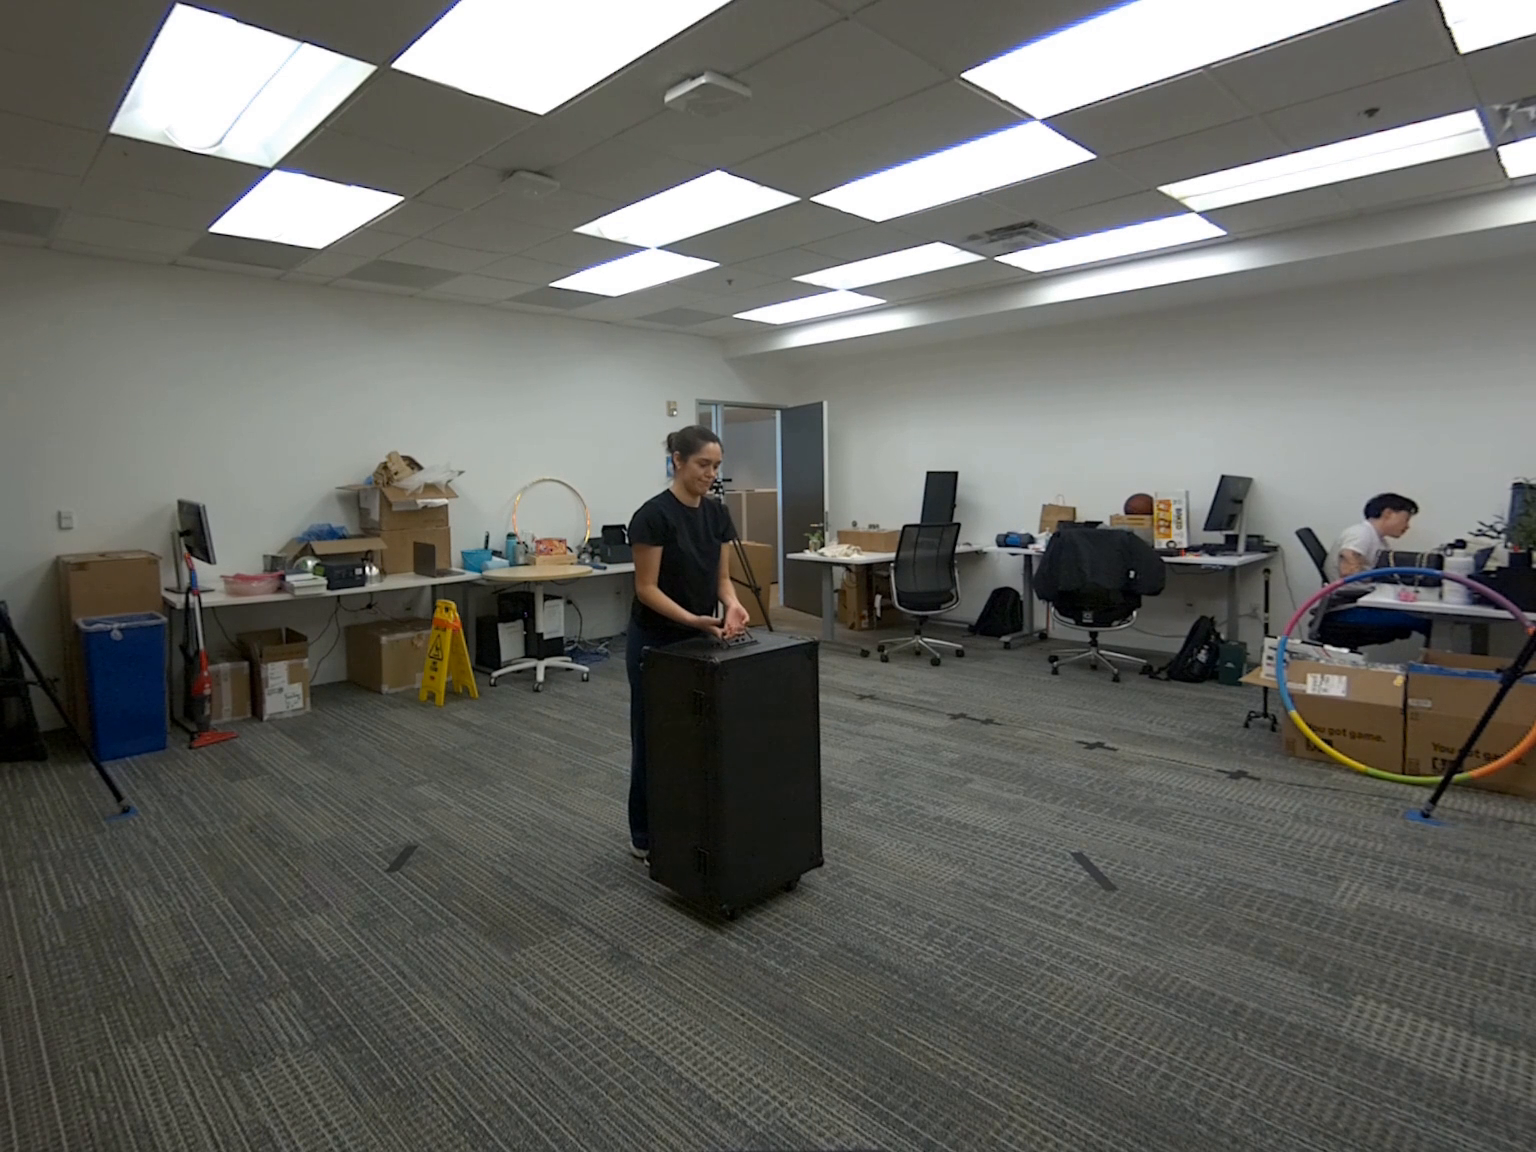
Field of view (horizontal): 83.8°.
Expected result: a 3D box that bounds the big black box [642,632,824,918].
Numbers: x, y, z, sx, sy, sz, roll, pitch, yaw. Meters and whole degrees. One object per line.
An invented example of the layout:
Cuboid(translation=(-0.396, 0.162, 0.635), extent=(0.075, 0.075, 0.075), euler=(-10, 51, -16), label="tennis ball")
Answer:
Cuboid(translation=(-0.122, 0.645, 2.882), extent=(0.408, 0.859, 0.507), euler=(1, 4, 45), label="big black box")
